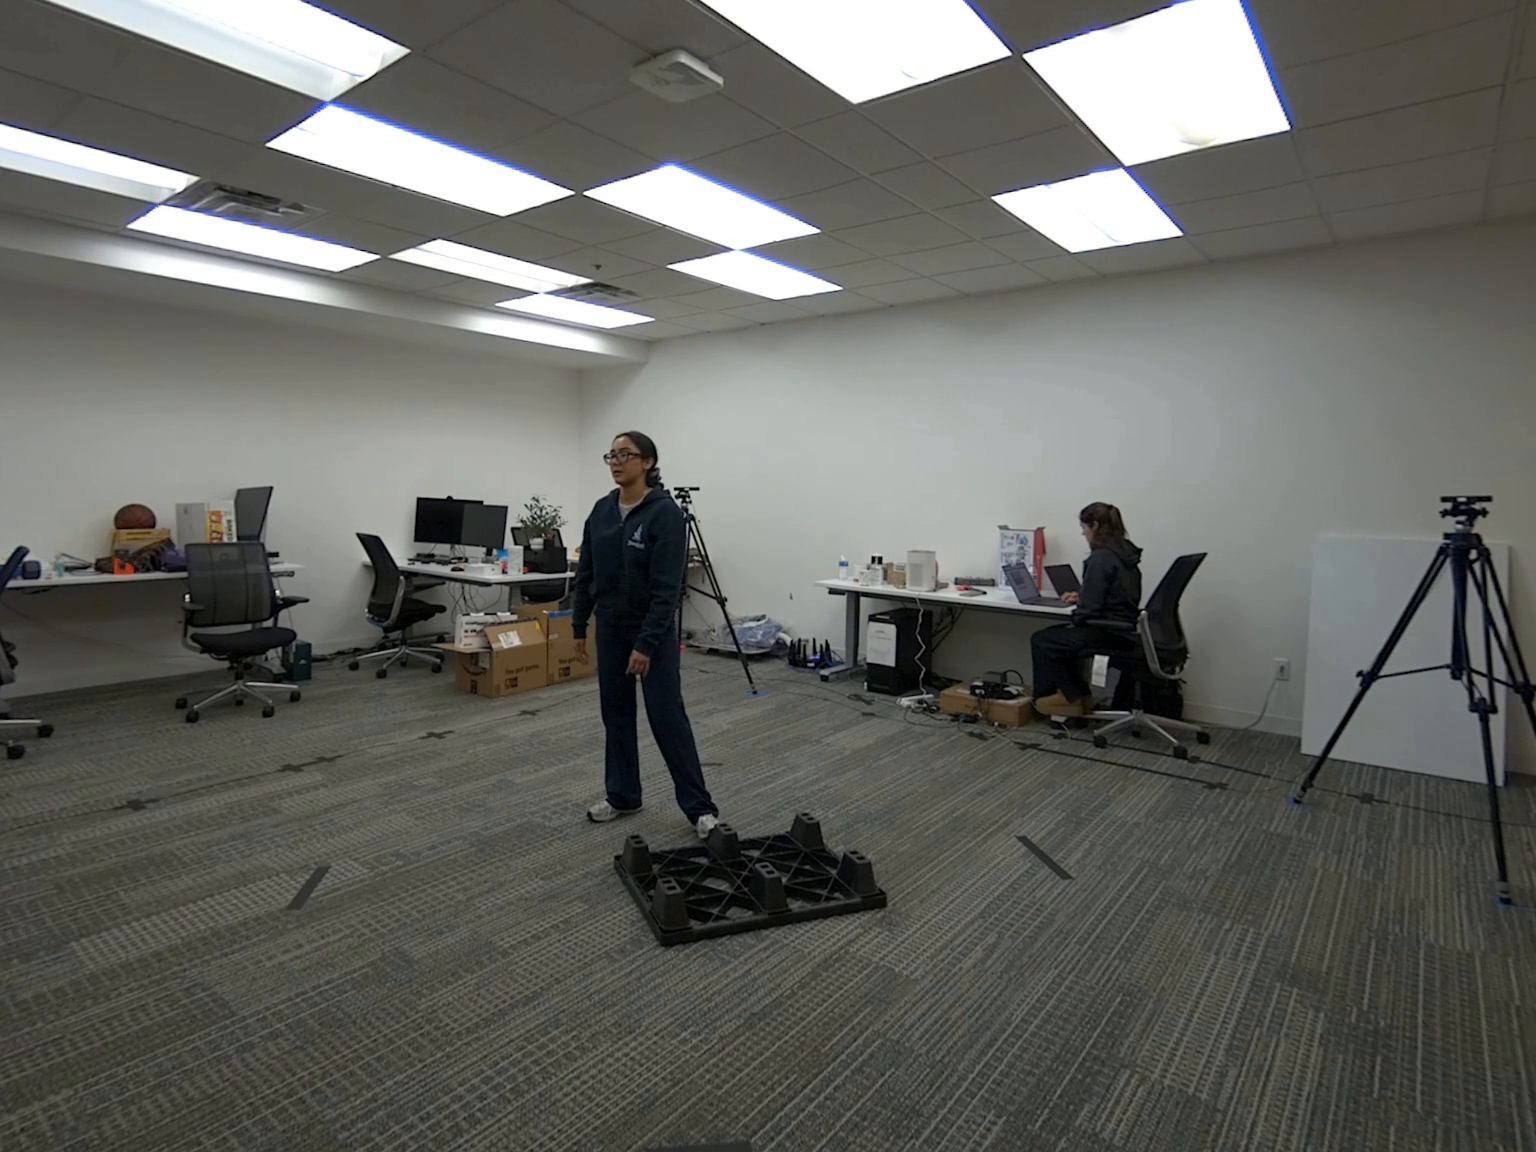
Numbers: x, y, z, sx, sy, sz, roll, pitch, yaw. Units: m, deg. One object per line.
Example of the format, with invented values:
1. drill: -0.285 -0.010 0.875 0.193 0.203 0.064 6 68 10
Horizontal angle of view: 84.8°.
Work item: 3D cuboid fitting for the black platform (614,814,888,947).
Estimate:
1. black platform: -0.088 1.011 2.981 0.787 0.143 0.621 -1 6 -23
